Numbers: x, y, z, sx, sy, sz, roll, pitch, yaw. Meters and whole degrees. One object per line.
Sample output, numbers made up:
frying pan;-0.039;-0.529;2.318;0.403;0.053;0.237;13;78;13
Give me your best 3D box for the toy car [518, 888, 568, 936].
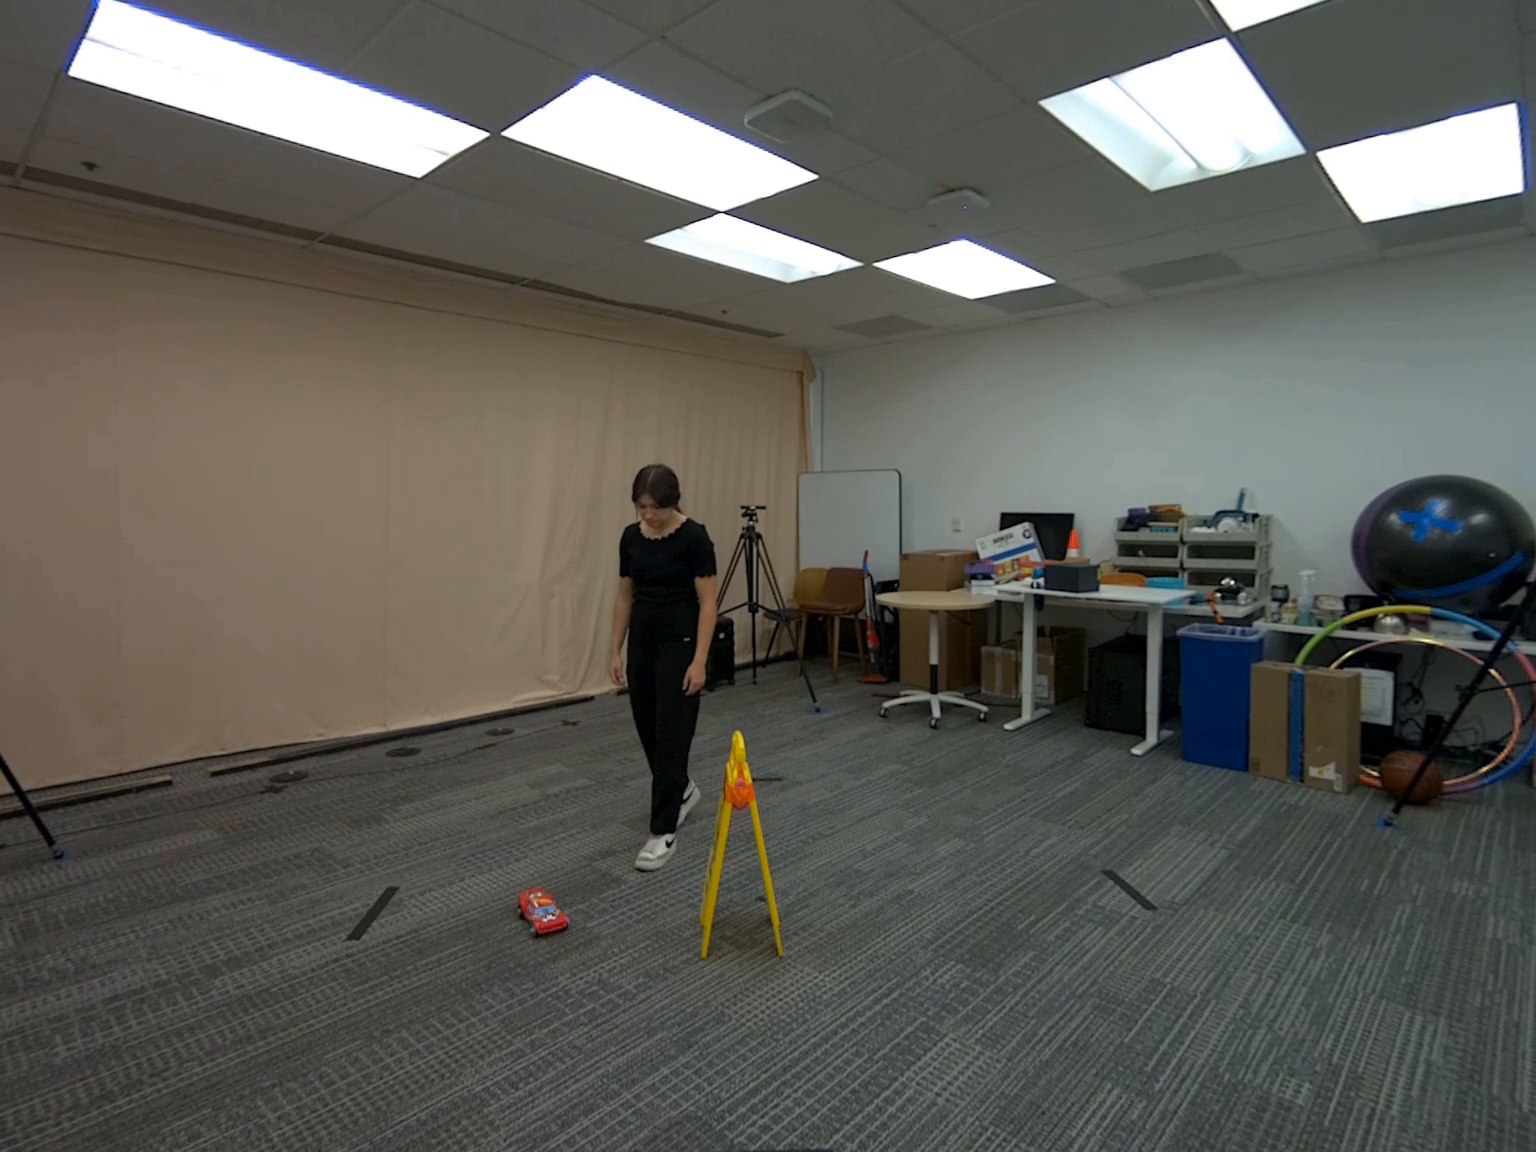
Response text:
toy car;-0.768;1.131;2.830;0.127;0.082;0.263;-2;16;-30
